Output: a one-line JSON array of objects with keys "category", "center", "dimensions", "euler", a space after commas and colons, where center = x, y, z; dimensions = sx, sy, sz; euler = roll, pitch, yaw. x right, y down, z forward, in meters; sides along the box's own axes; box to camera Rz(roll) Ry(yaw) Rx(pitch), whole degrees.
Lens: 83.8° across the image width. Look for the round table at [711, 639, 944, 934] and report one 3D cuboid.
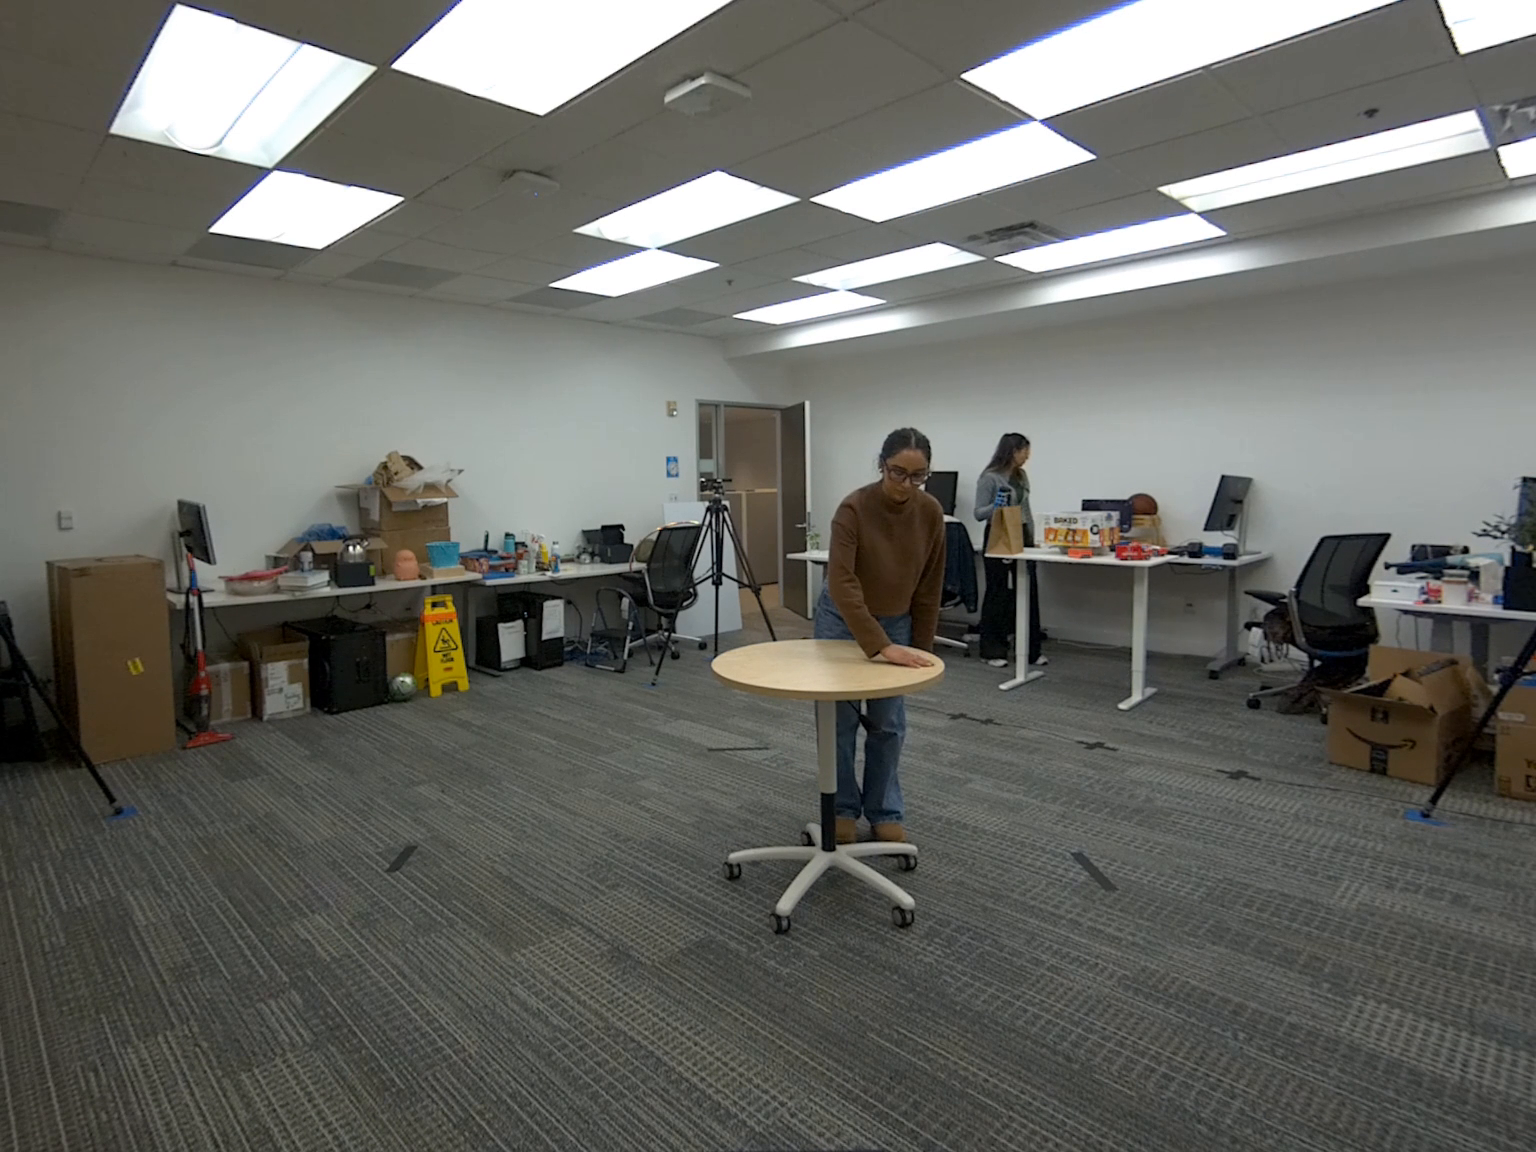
[{"category": "round table", "center": [0.204, 0.679, 2.872], "dimensions": [0.763, 0.791, 0.768], "euler": [-1, 5, -2]}]
